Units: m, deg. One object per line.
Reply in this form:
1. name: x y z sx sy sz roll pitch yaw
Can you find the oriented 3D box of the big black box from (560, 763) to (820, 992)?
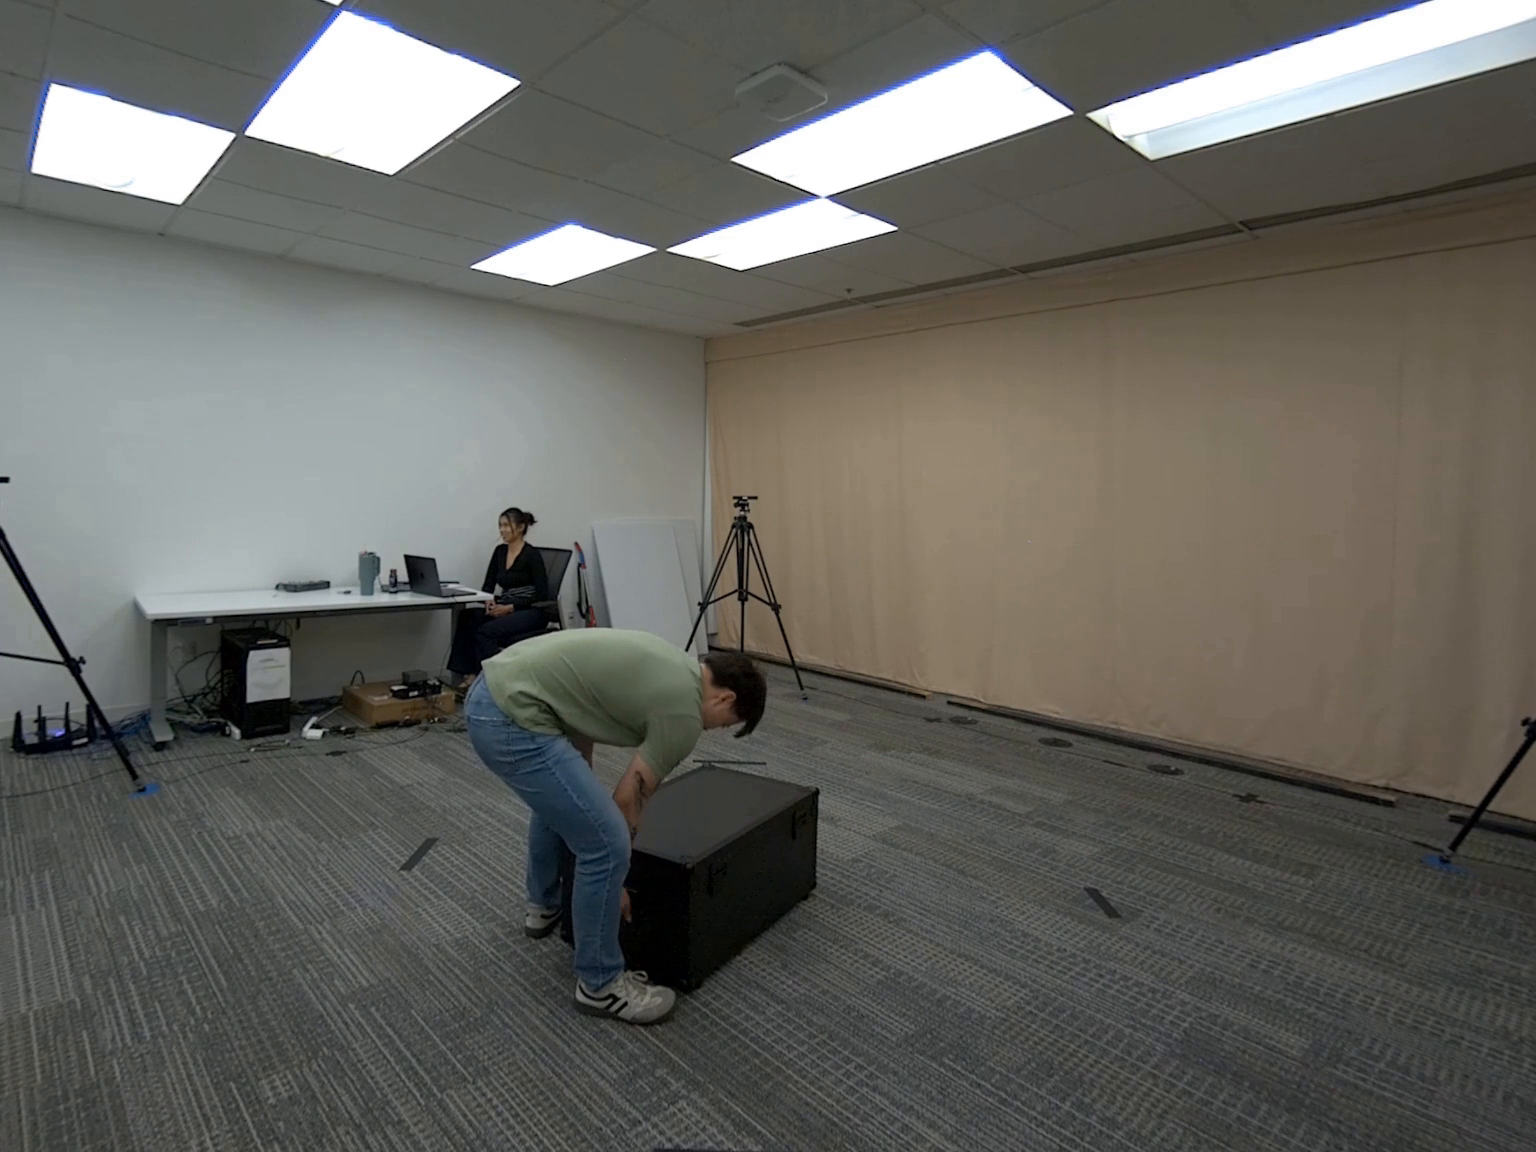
1. big black box: -0.209 0.942 2.789 0.533 0.395 0.845 3 6 31
